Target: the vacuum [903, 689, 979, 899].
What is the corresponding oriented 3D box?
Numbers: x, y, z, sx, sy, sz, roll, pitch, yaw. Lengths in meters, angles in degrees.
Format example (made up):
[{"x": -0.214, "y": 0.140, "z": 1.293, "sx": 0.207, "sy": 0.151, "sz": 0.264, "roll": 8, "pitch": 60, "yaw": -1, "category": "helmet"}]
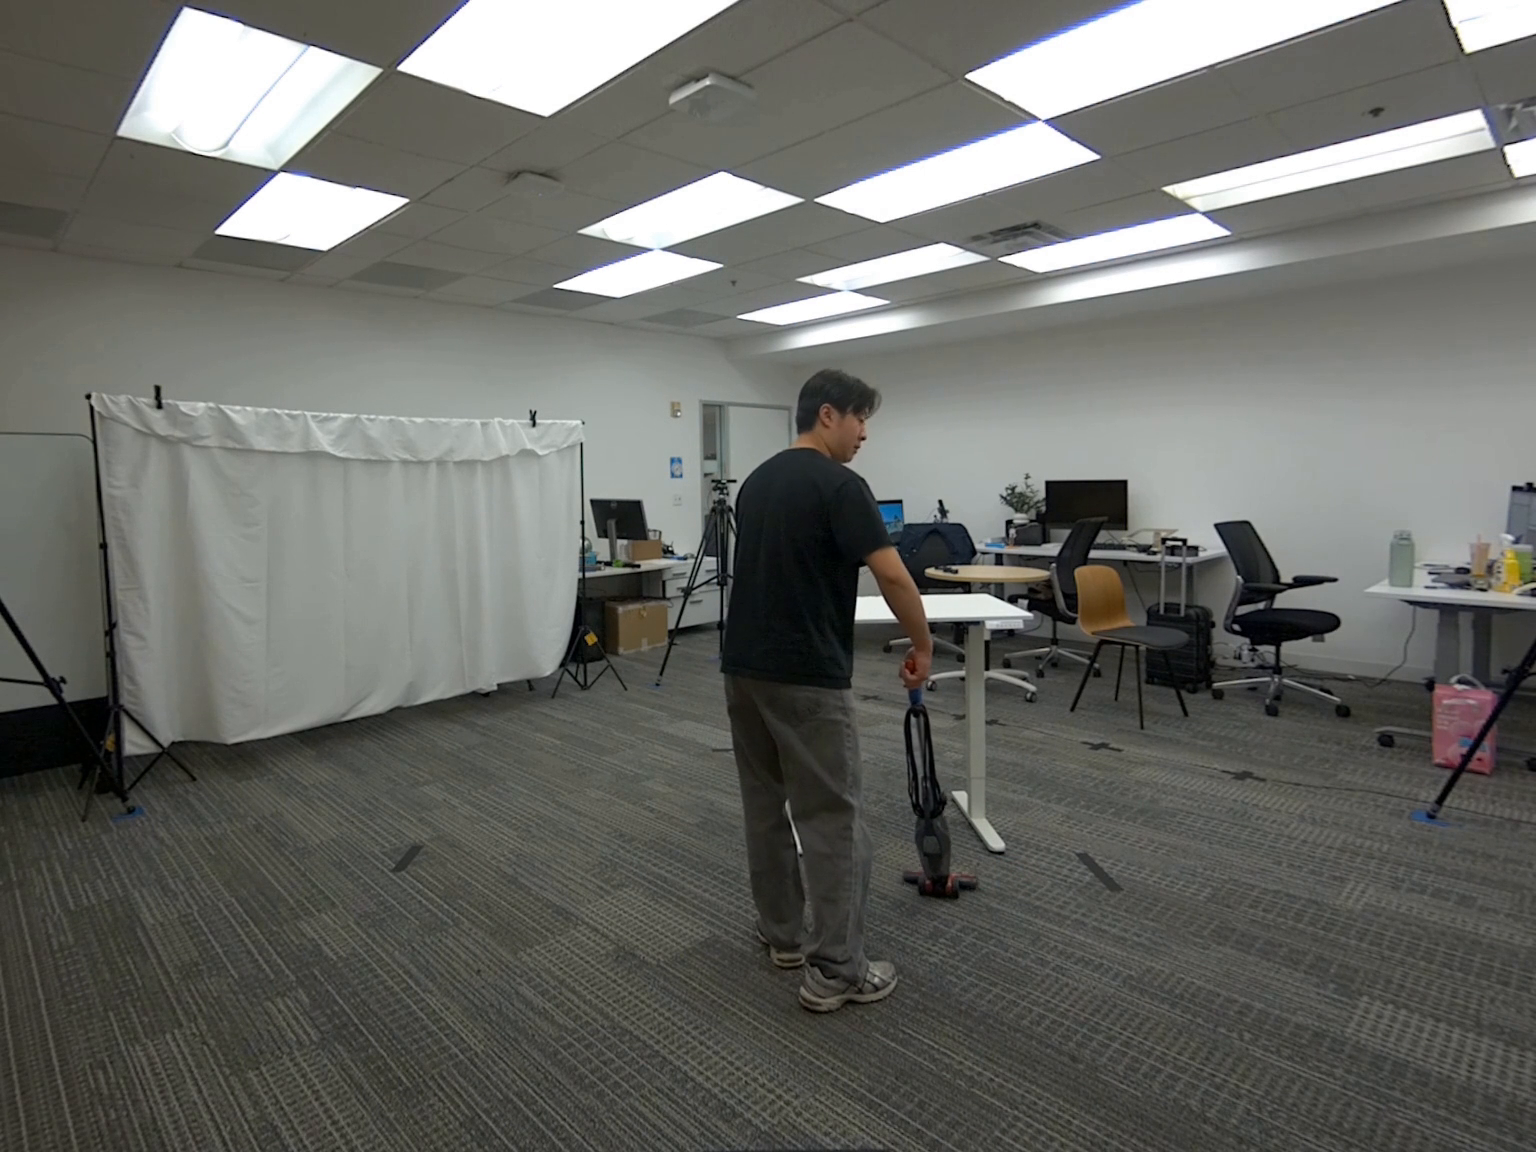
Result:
[{"x": 0.484, "y": 0.651, "z": 2.612, "sx": 0.258, "sy": 1.016, "sz": 0.145, "roll": 2, "pitch": 38, "yaw": 21, "category": "vacuum"}]
